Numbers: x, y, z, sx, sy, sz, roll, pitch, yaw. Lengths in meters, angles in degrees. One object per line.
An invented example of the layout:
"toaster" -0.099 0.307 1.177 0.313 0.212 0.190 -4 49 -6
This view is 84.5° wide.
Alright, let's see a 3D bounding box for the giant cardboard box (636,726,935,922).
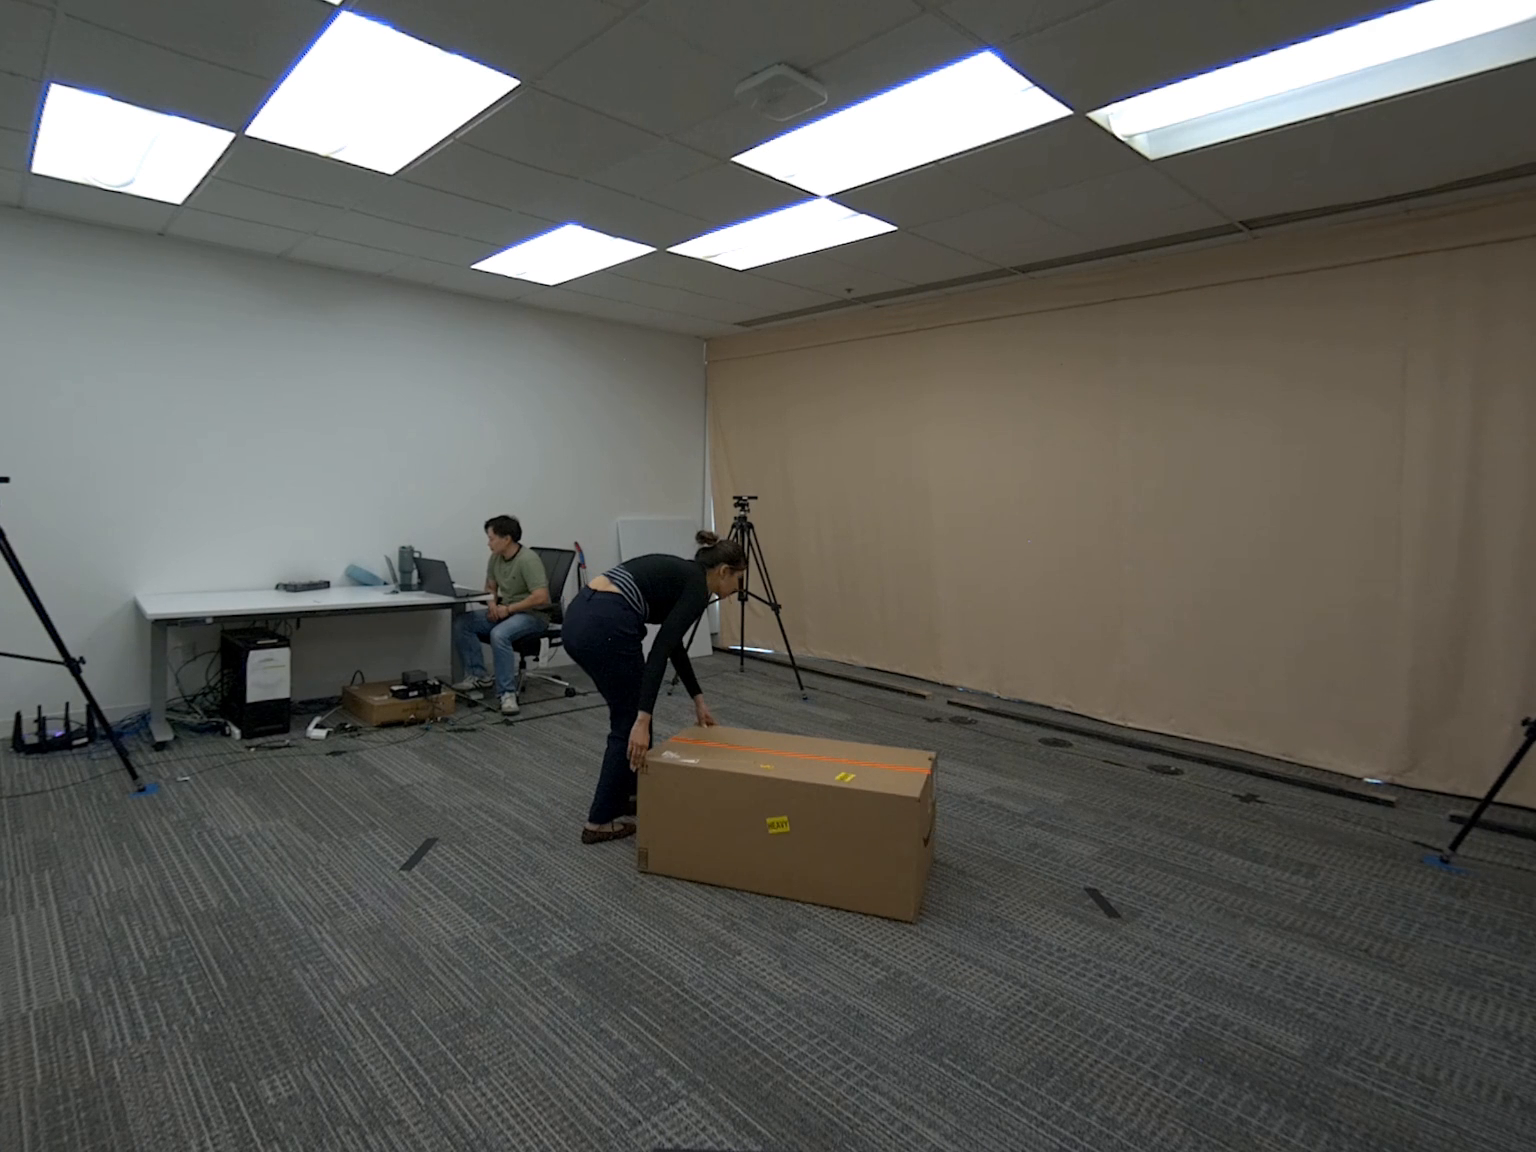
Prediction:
"giant cardboard box" 0.082 0.883 3.192 1.042 0.425 0.570 3 4 19
